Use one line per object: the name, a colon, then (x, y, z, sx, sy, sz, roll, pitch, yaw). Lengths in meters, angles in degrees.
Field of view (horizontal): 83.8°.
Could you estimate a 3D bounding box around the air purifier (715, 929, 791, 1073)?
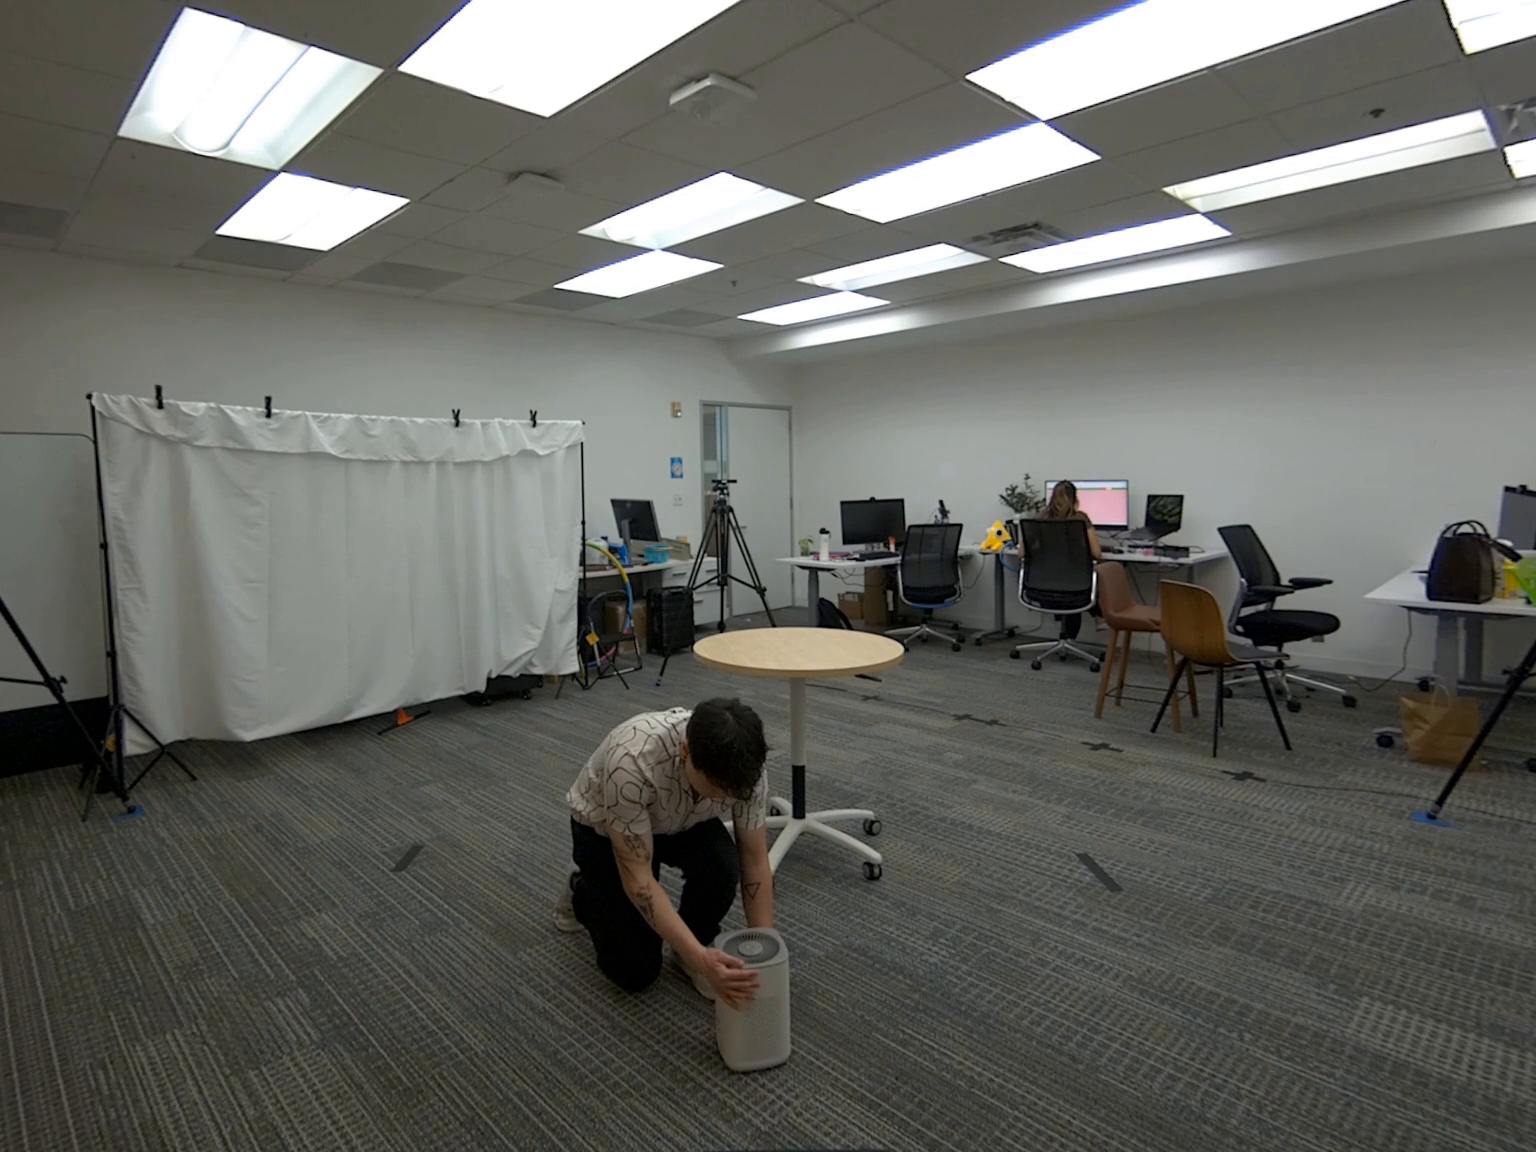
air purifier: (-0.036, 1.039, 2.082, 0.169, 0.264, 0.174, -2, 4, -16)
